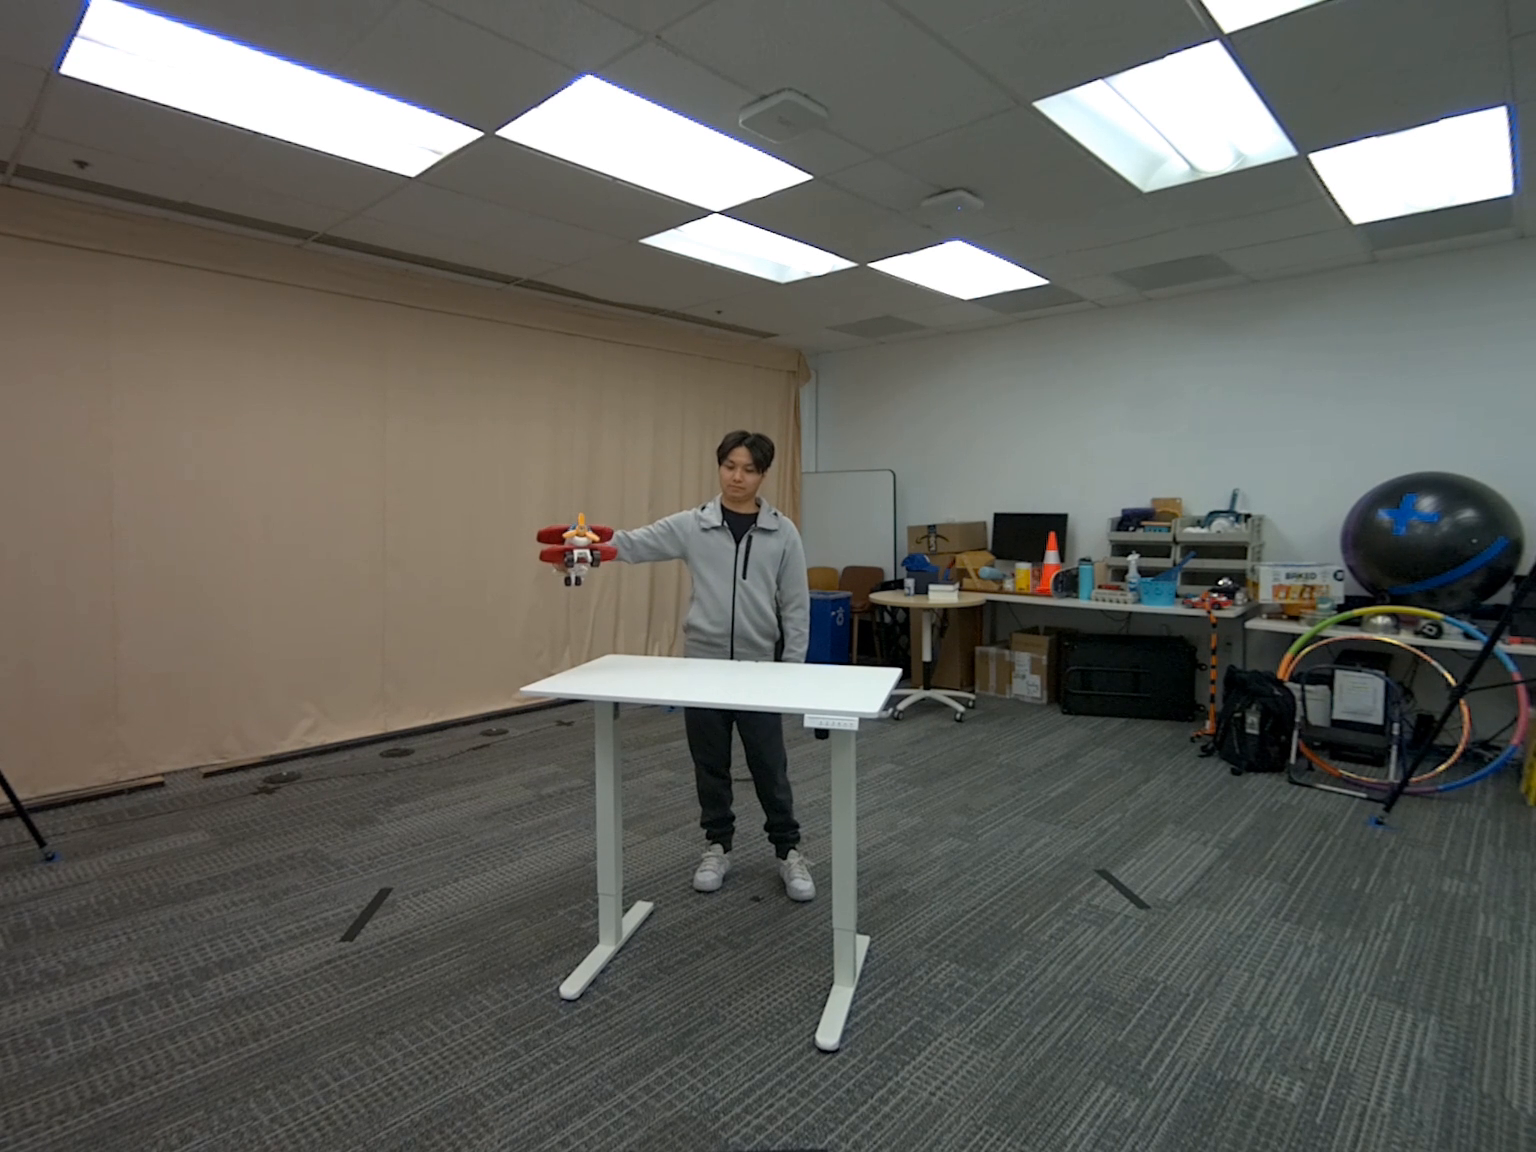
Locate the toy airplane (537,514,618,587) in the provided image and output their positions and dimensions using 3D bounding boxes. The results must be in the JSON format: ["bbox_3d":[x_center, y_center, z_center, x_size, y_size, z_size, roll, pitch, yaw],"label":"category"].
[{"bbox_3d":[-0.653,-0.078,2.786,0.265,0.158,0.242,-23,-22,38],"label":"toy airplane"}]
